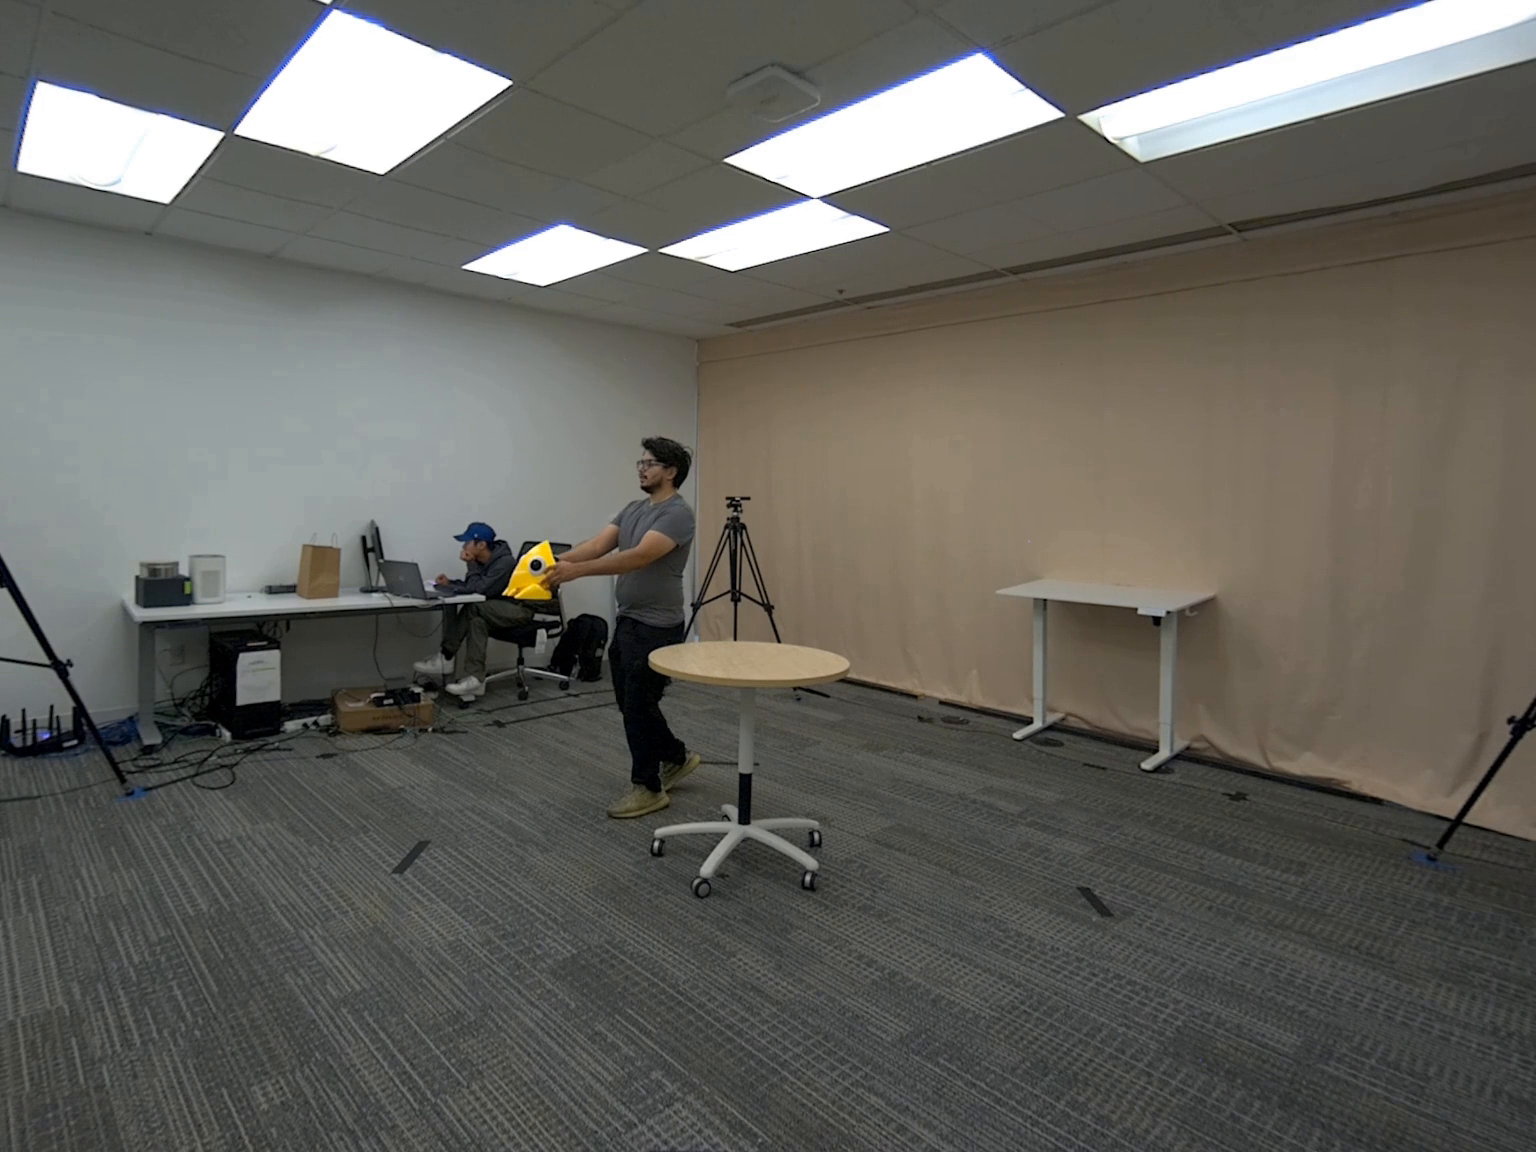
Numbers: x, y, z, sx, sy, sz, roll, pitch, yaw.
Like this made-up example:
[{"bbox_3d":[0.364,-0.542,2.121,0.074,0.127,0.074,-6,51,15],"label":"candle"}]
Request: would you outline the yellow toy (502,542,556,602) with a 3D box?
[{"bbox_3d":[-0.961,-0.028,3.386,0.188,0.230,0.210,2,3,-39],"label":"yellow toy"}]
